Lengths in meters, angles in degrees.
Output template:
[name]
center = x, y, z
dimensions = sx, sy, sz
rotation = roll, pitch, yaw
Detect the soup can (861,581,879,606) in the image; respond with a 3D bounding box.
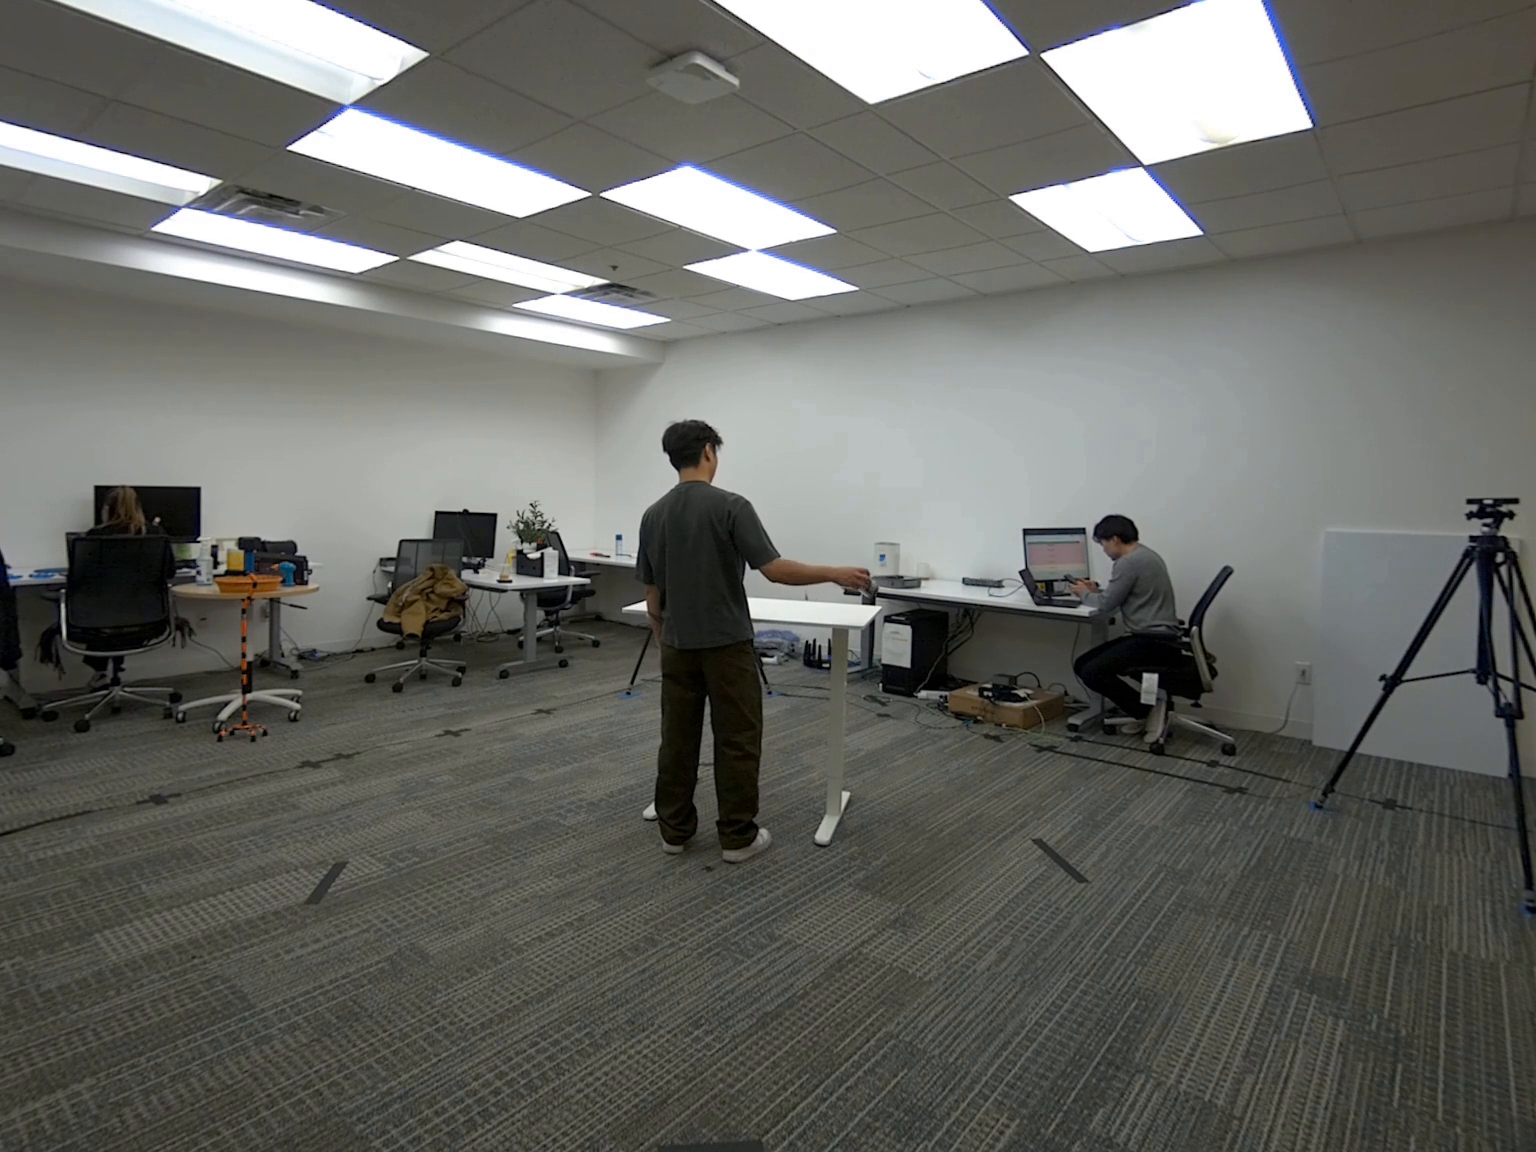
[soup can]
center = 0.331, 0.036, 3.187
dimensions = 0.069, 0.067, 0.116
rotation = 4, -35, 42
